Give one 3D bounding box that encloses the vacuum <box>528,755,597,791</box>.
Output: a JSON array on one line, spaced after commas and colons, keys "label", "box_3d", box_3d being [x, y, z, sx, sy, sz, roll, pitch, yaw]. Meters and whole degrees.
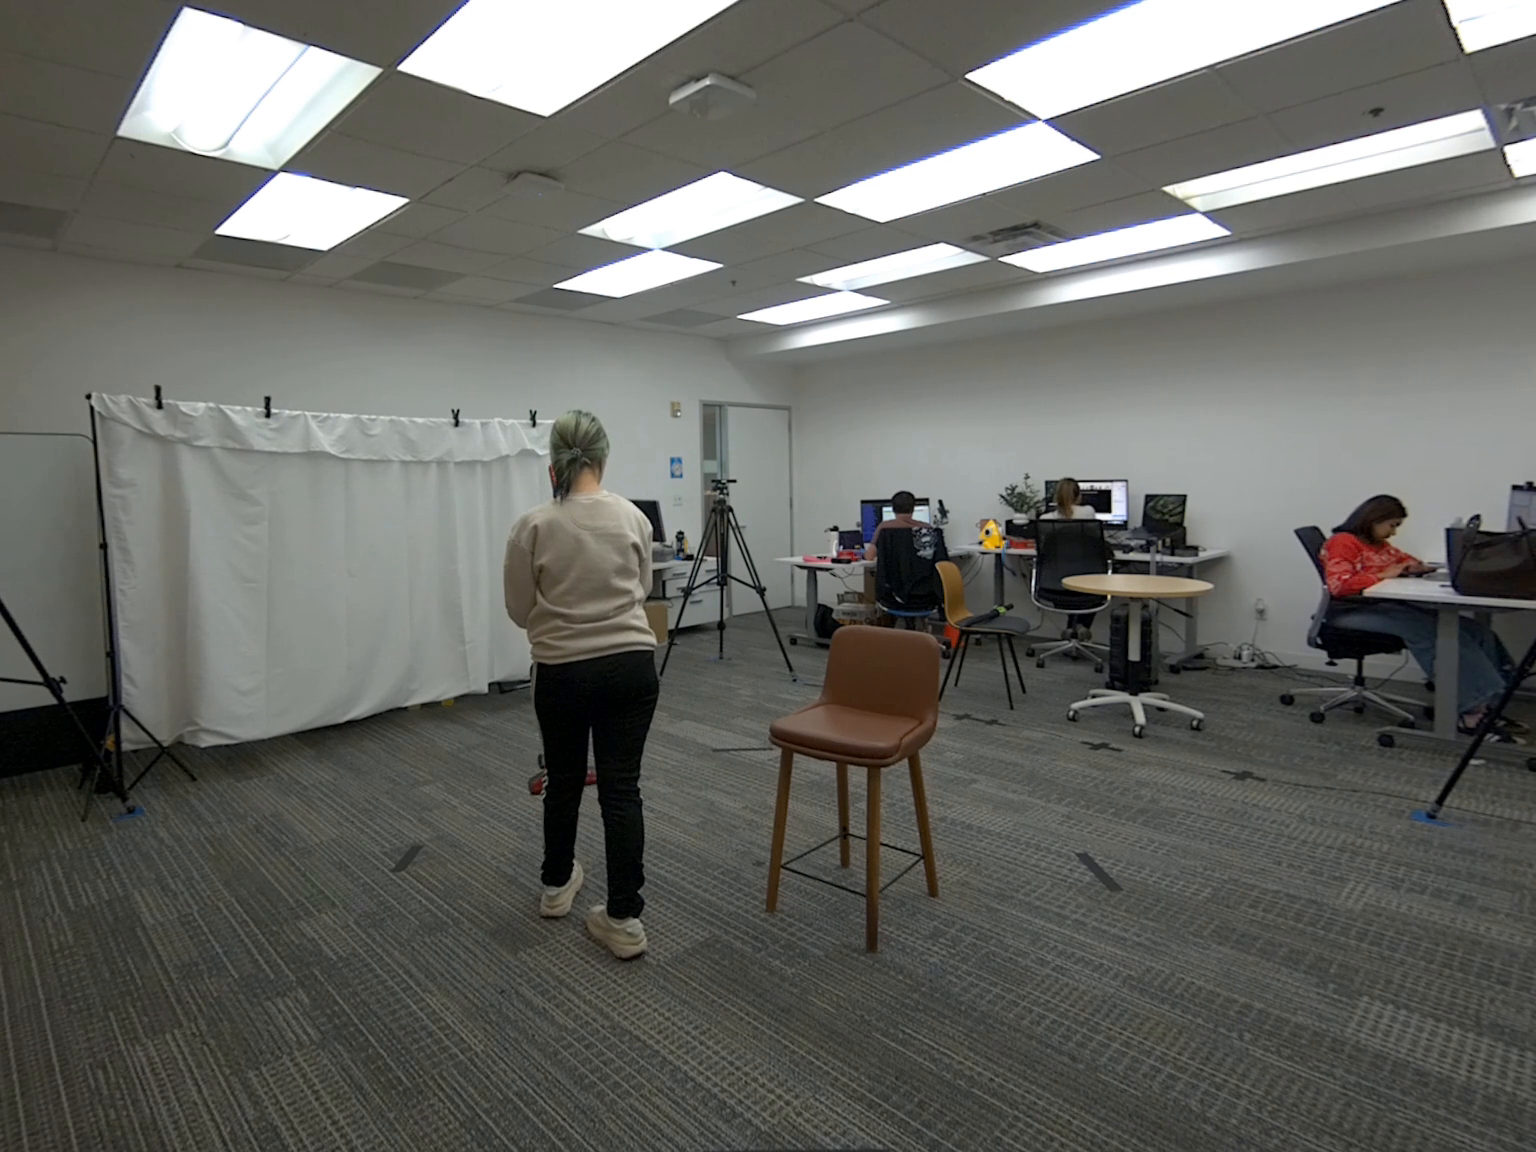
[{"label": "vacuum", "box_3d": [-0.732, 0.142, 2.951, 0.148, 1.051, 0.245, -5, -2, 45]}]
